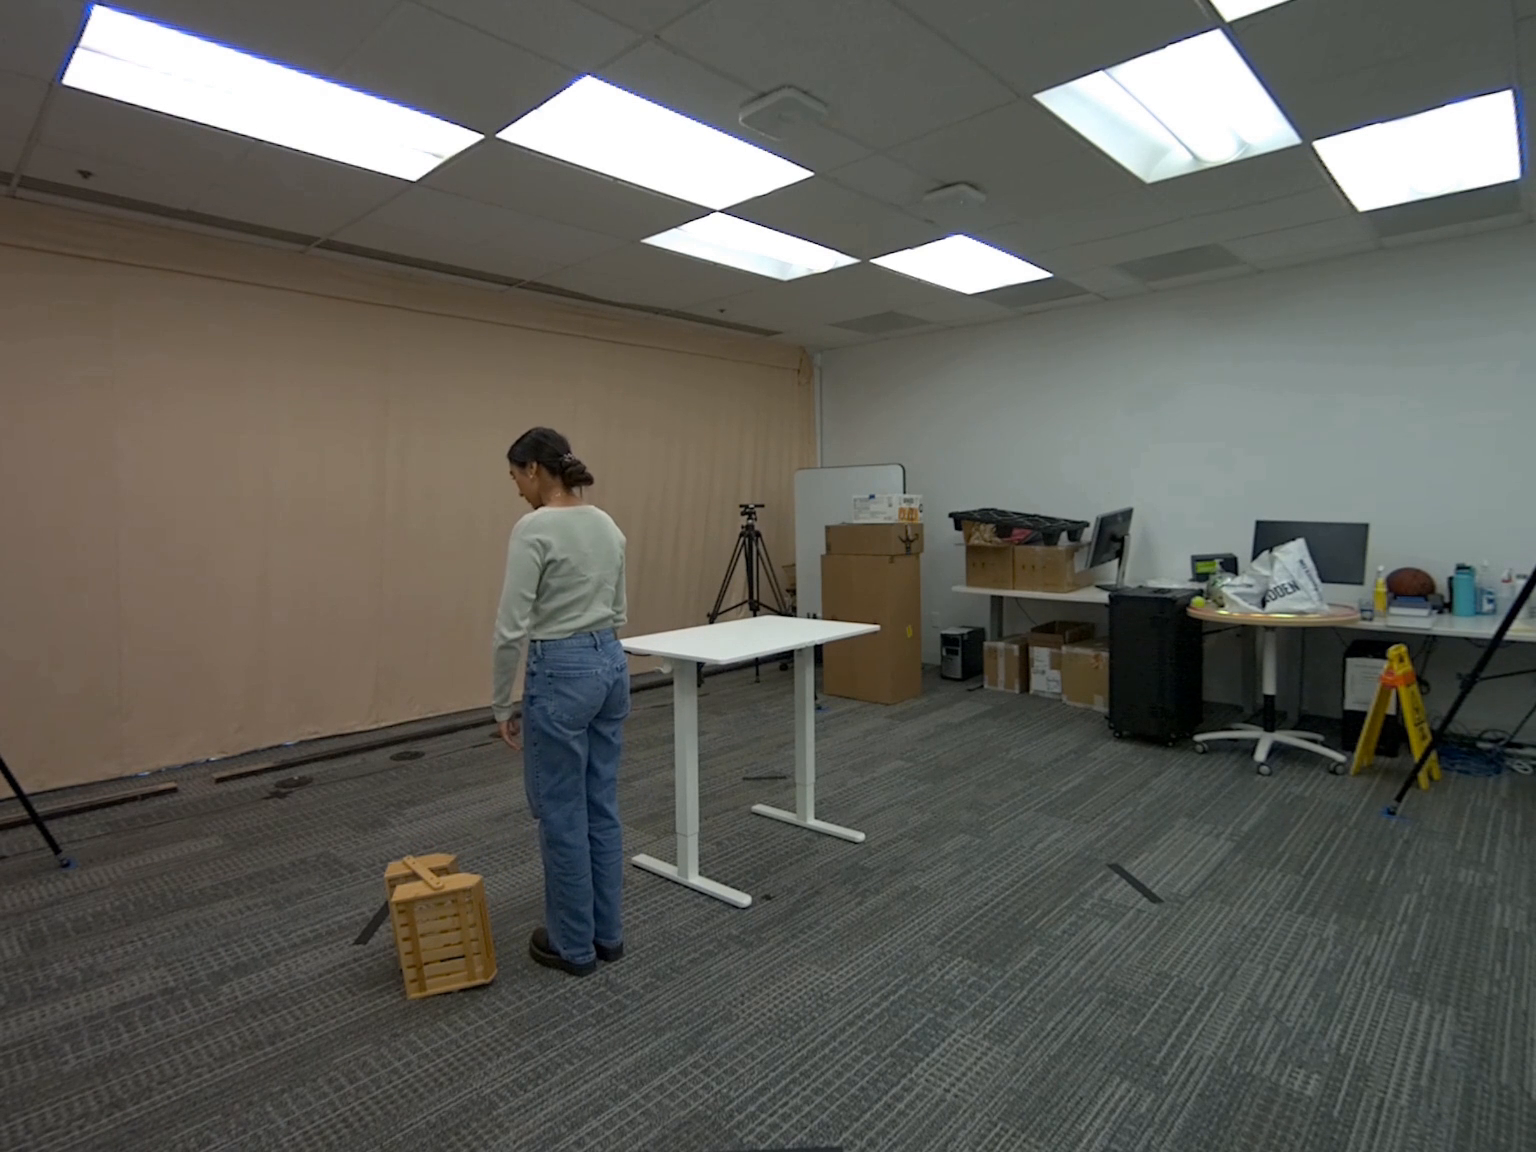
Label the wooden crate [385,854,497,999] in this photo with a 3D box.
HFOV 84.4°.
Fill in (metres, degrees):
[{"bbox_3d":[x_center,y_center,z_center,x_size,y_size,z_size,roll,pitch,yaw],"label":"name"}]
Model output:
[{"bbox_3d":[-0.990,1.039,2.529,0.298,0.322,0.279,-8,8,-15],"label":"wooden crate"}]
